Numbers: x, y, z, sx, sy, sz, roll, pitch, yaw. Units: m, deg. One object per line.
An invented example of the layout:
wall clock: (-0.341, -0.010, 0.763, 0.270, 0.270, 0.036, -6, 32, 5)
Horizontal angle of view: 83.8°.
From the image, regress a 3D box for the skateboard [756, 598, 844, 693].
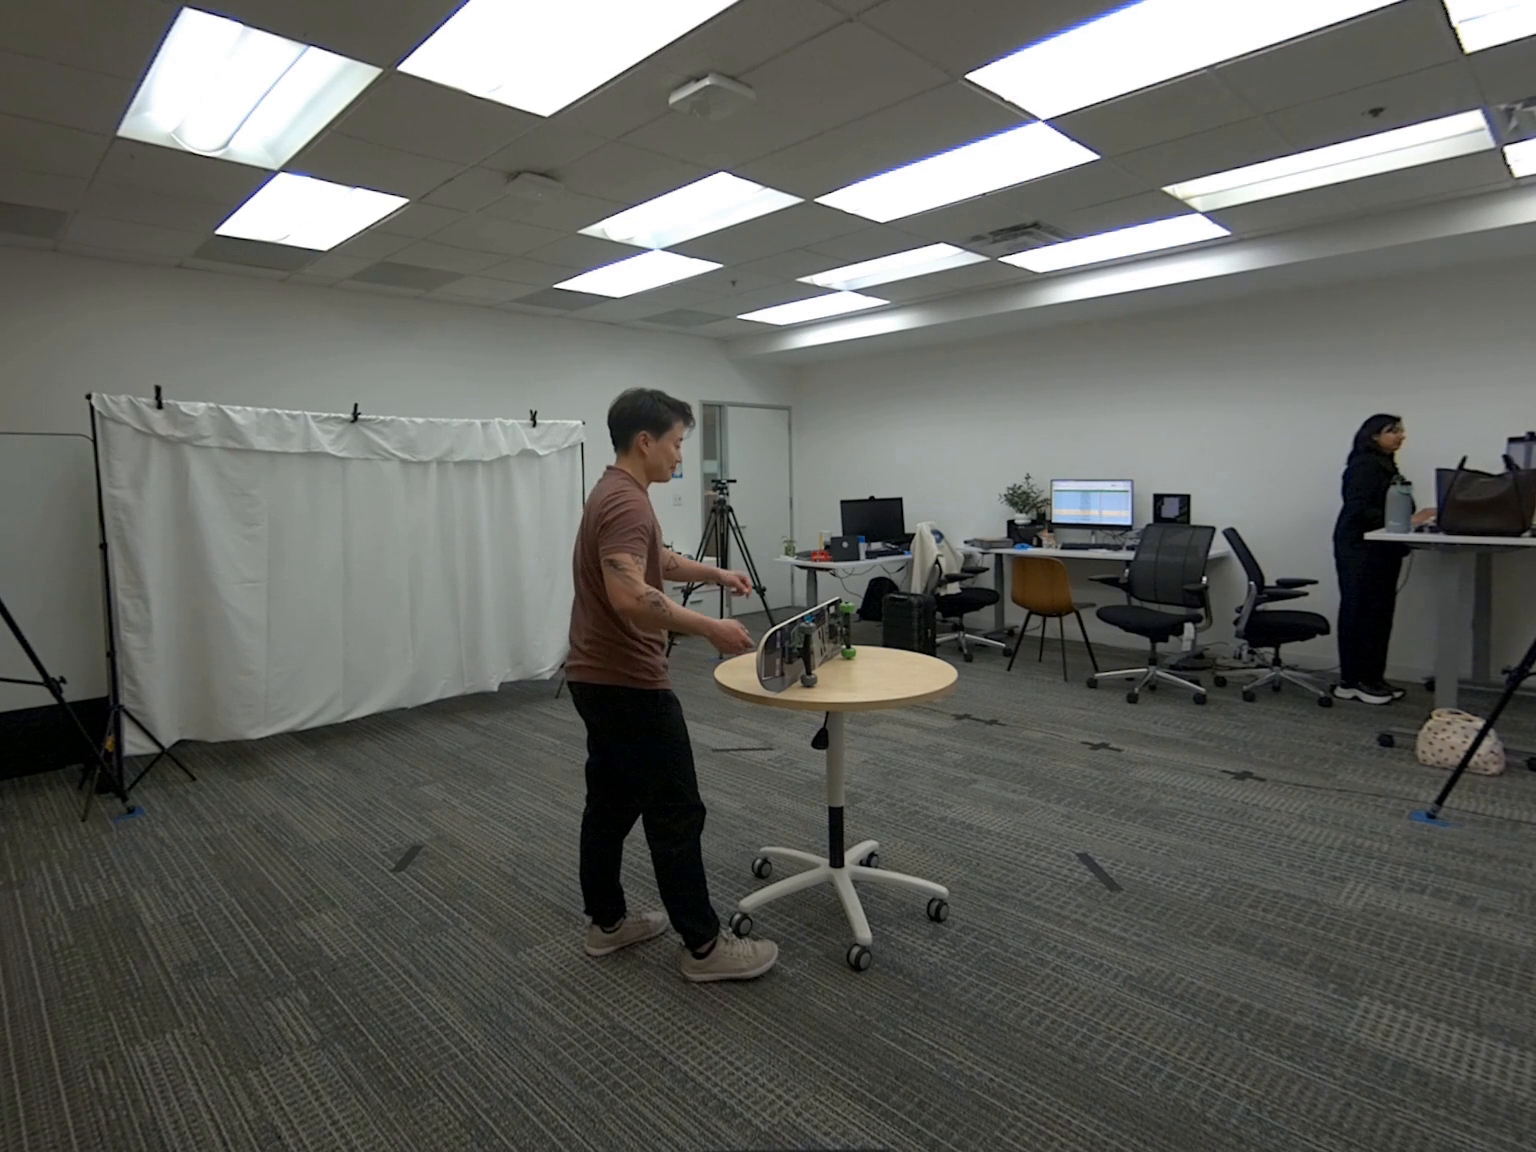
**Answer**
skateboard: (0.164, 0.205, 2.726, 0.113, 0.192, 0.772, 3, 8, 23)
